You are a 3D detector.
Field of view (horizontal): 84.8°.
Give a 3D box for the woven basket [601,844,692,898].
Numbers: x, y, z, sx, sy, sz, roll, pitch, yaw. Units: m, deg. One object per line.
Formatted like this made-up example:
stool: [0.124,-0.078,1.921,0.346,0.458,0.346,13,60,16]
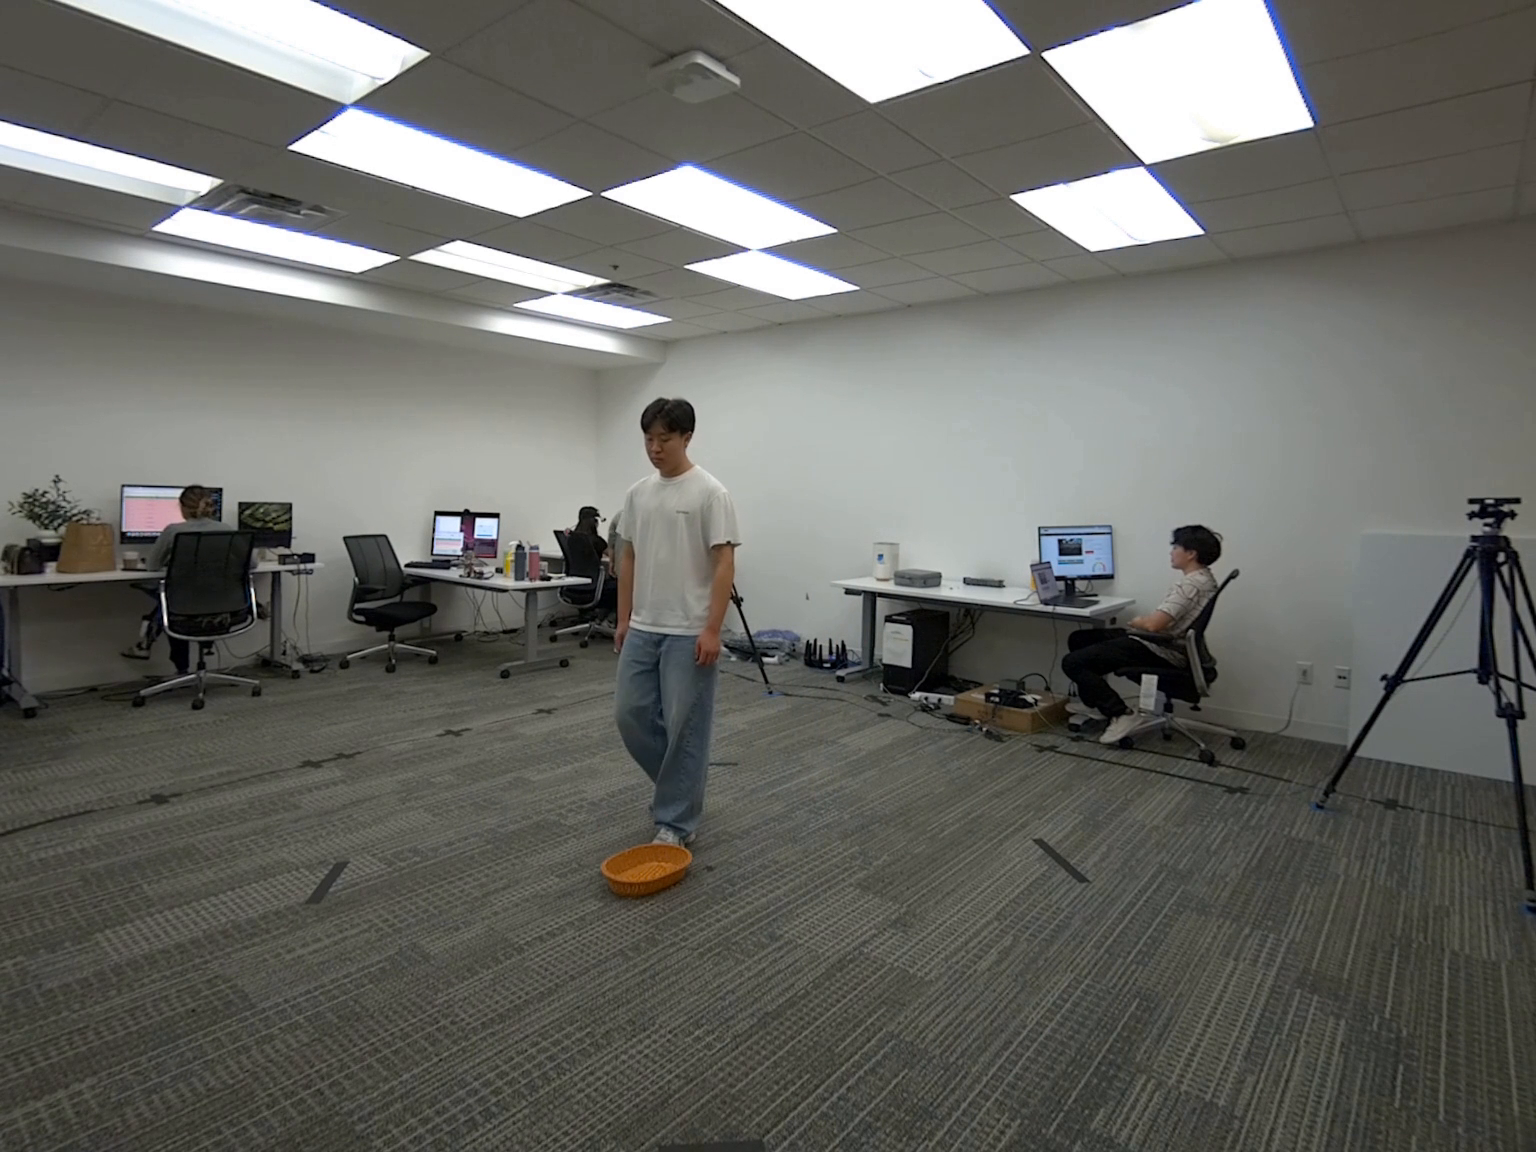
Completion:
woven basket: [-0.428,1.033,2.997,0.261,0.073,0.340,5,6,44]
